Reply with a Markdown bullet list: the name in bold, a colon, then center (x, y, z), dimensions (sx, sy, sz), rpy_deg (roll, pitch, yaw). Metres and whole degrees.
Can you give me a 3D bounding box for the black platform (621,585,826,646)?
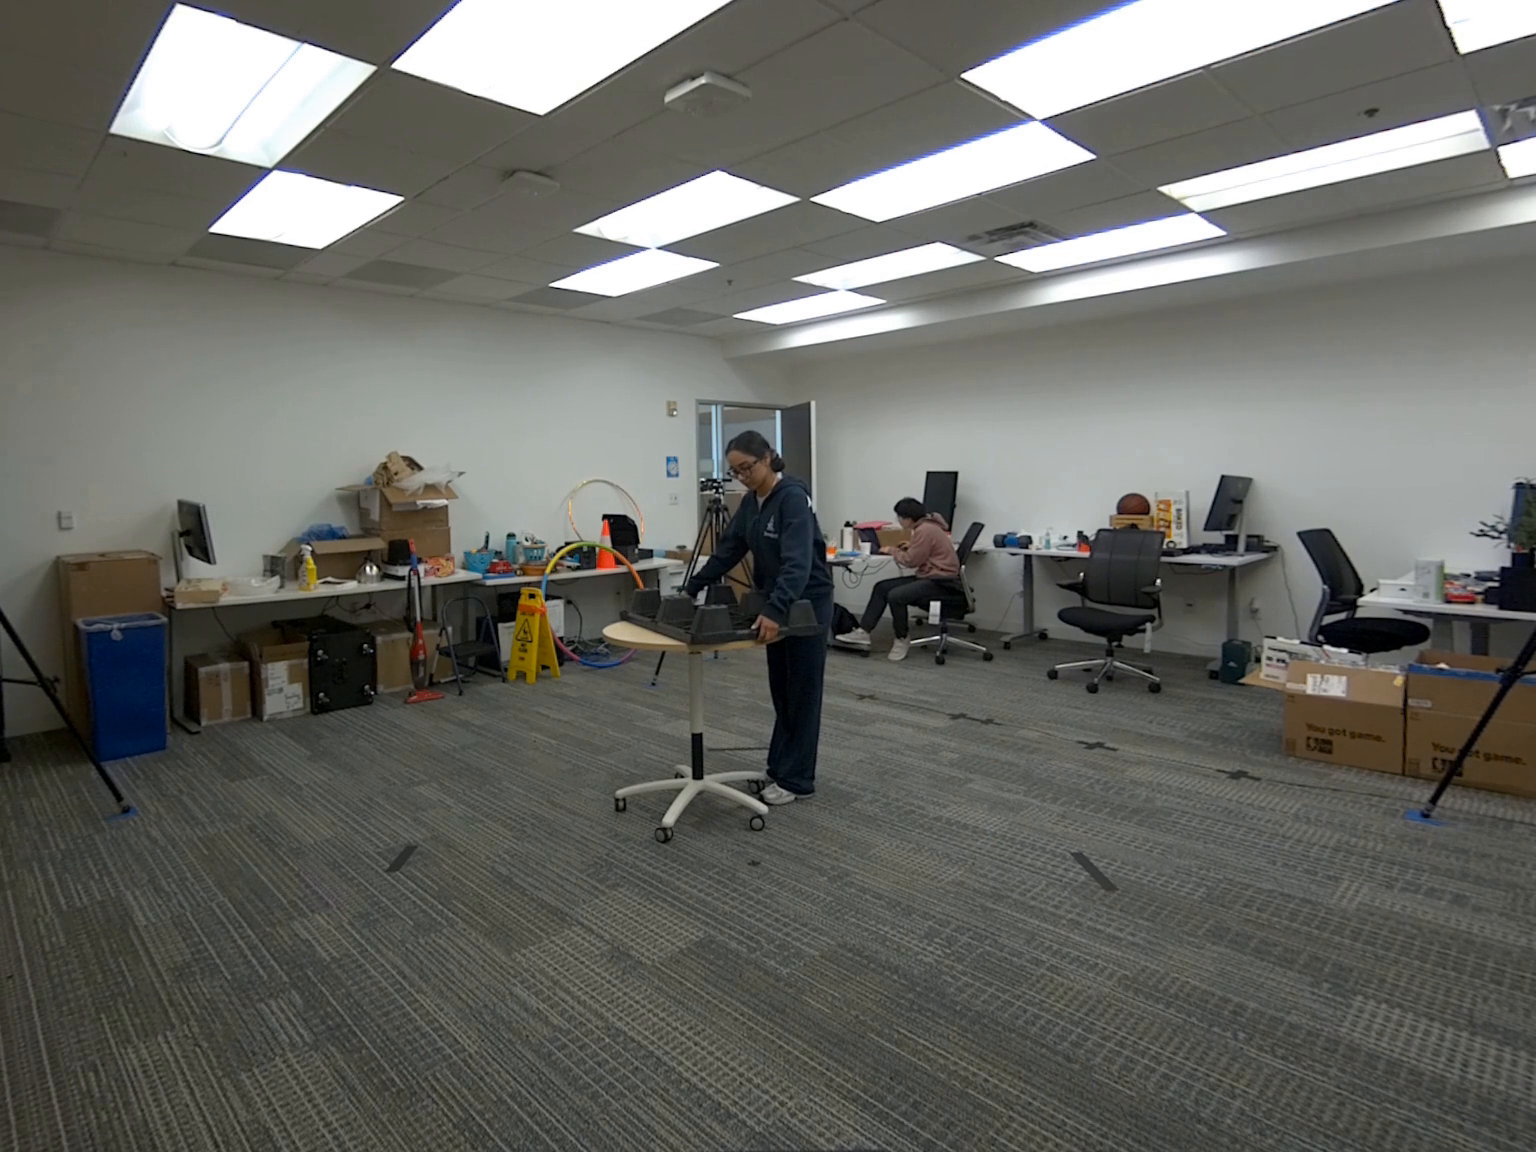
- **black platform**: center (-0.223, 0.150, 3.614), dimensions (0.591, 0.143, 0.827), rpy_deg (-3, 6, -28)
